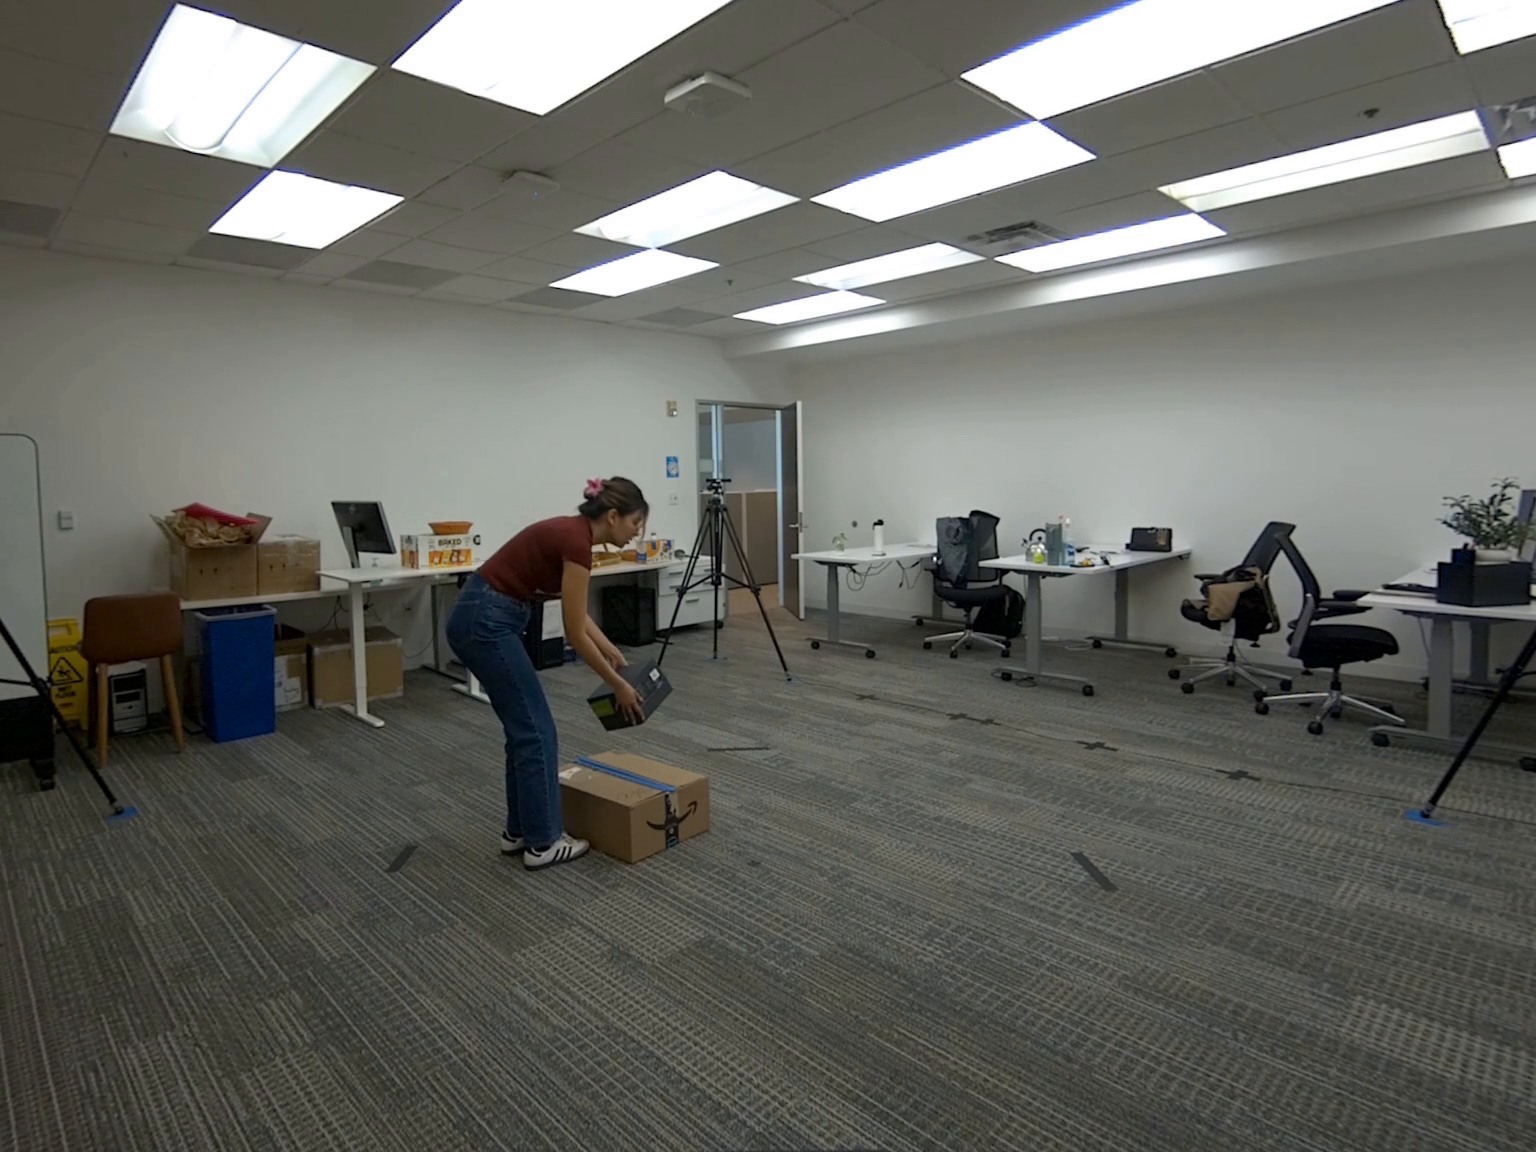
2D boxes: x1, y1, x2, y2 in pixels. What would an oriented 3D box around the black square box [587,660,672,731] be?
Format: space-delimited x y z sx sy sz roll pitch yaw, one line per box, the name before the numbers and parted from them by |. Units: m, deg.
black square box | -0.541 0.458 3.339 0.232 0.153 0.217 -20 18 39
